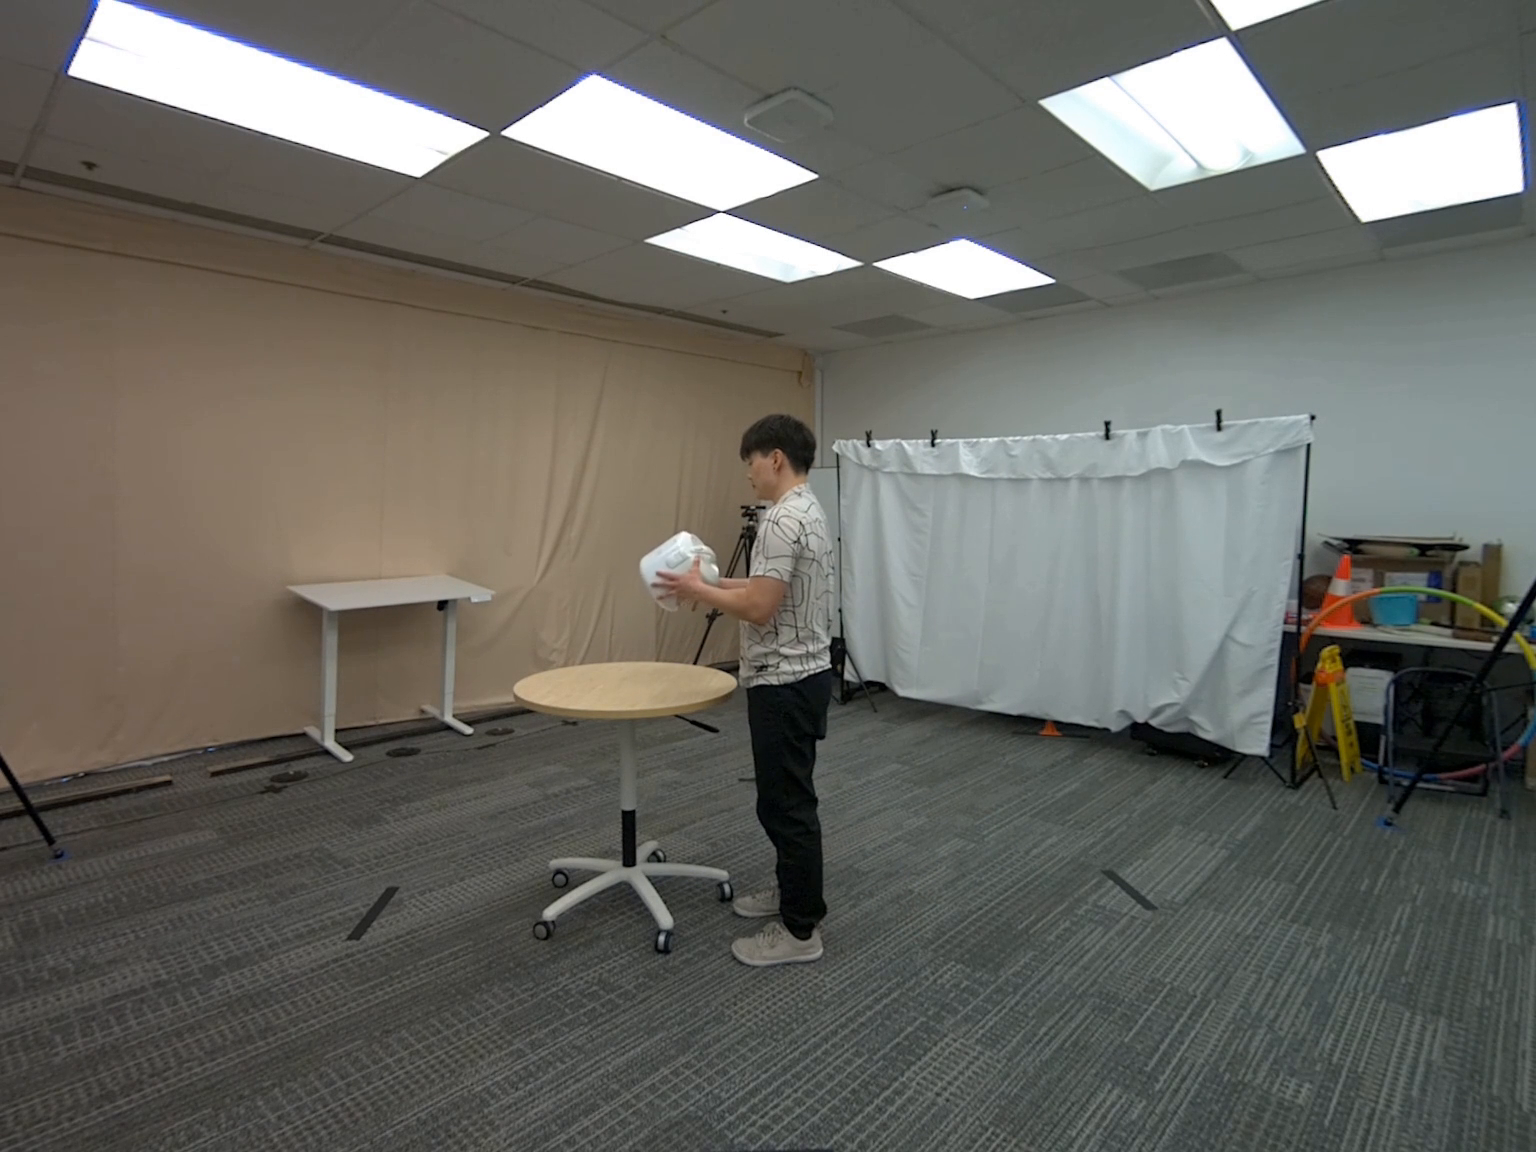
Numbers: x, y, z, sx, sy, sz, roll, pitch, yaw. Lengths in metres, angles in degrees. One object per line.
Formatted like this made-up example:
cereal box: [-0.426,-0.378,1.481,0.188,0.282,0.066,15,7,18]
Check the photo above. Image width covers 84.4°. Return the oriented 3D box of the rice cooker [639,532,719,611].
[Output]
rice cooker: [-0.274,-0.016,2.759,0.234,0.222,0.214,-34,-22,11]
